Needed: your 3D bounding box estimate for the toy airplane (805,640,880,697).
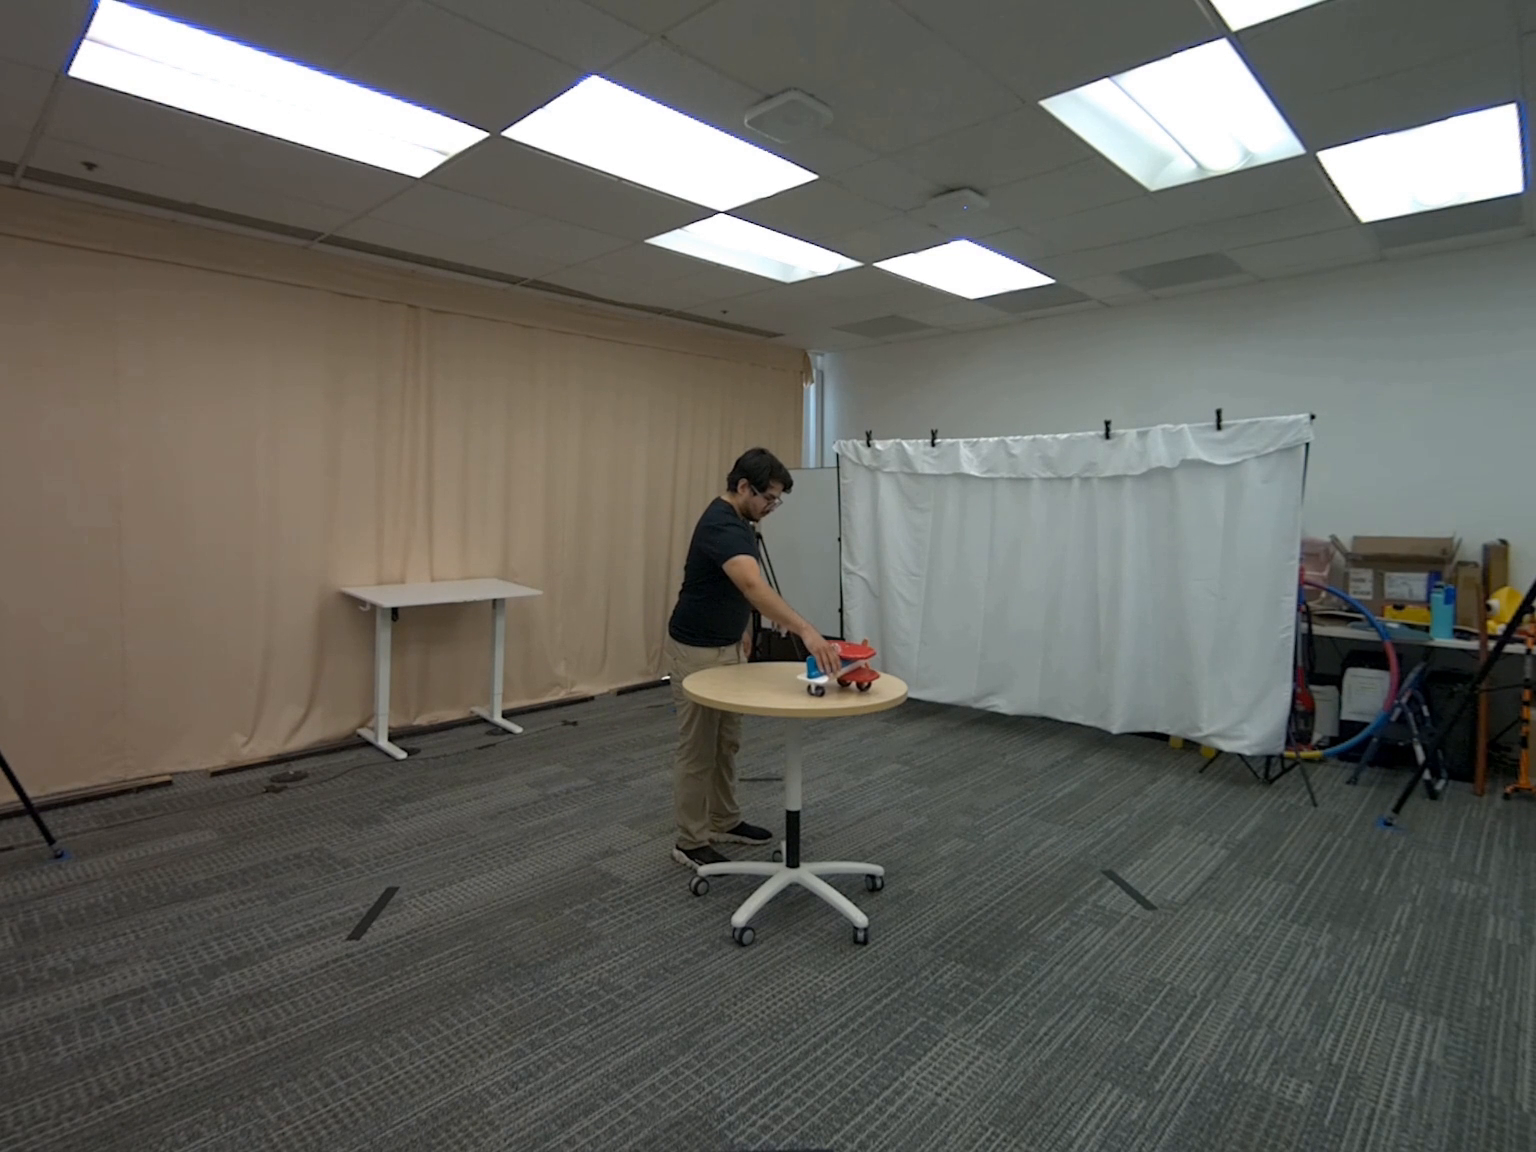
[{"bbox_3d":[0.239,0.305,2.728,0.257,0.156,0.253,2,3,23],"label":"toy airplane"}]
